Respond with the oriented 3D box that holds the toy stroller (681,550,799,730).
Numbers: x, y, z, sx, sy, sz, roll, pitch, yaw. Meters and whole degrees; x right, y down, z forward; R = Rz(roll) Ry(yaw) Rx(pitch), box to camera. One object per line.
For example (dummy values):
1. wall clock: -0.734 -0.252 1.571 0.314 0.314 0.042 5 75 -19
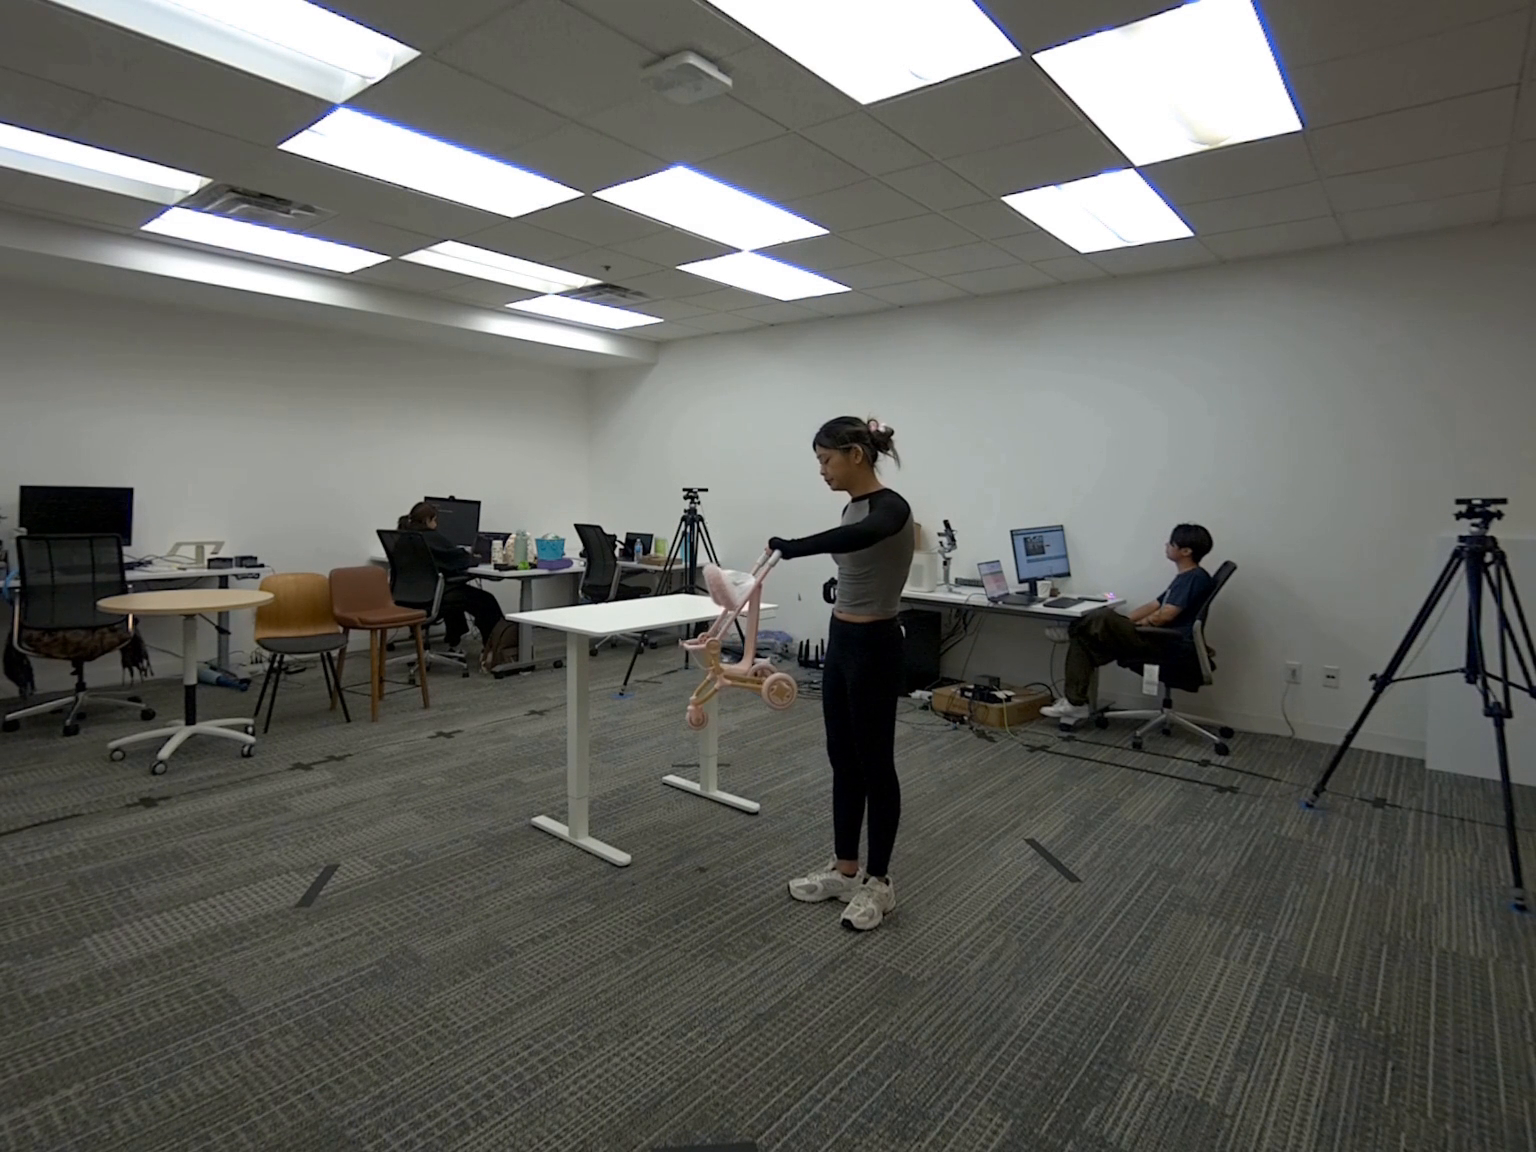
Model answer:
1. toy stroller: -0.127 0.191 2.625 0.340 0.535 0.282 -5 0 -5
